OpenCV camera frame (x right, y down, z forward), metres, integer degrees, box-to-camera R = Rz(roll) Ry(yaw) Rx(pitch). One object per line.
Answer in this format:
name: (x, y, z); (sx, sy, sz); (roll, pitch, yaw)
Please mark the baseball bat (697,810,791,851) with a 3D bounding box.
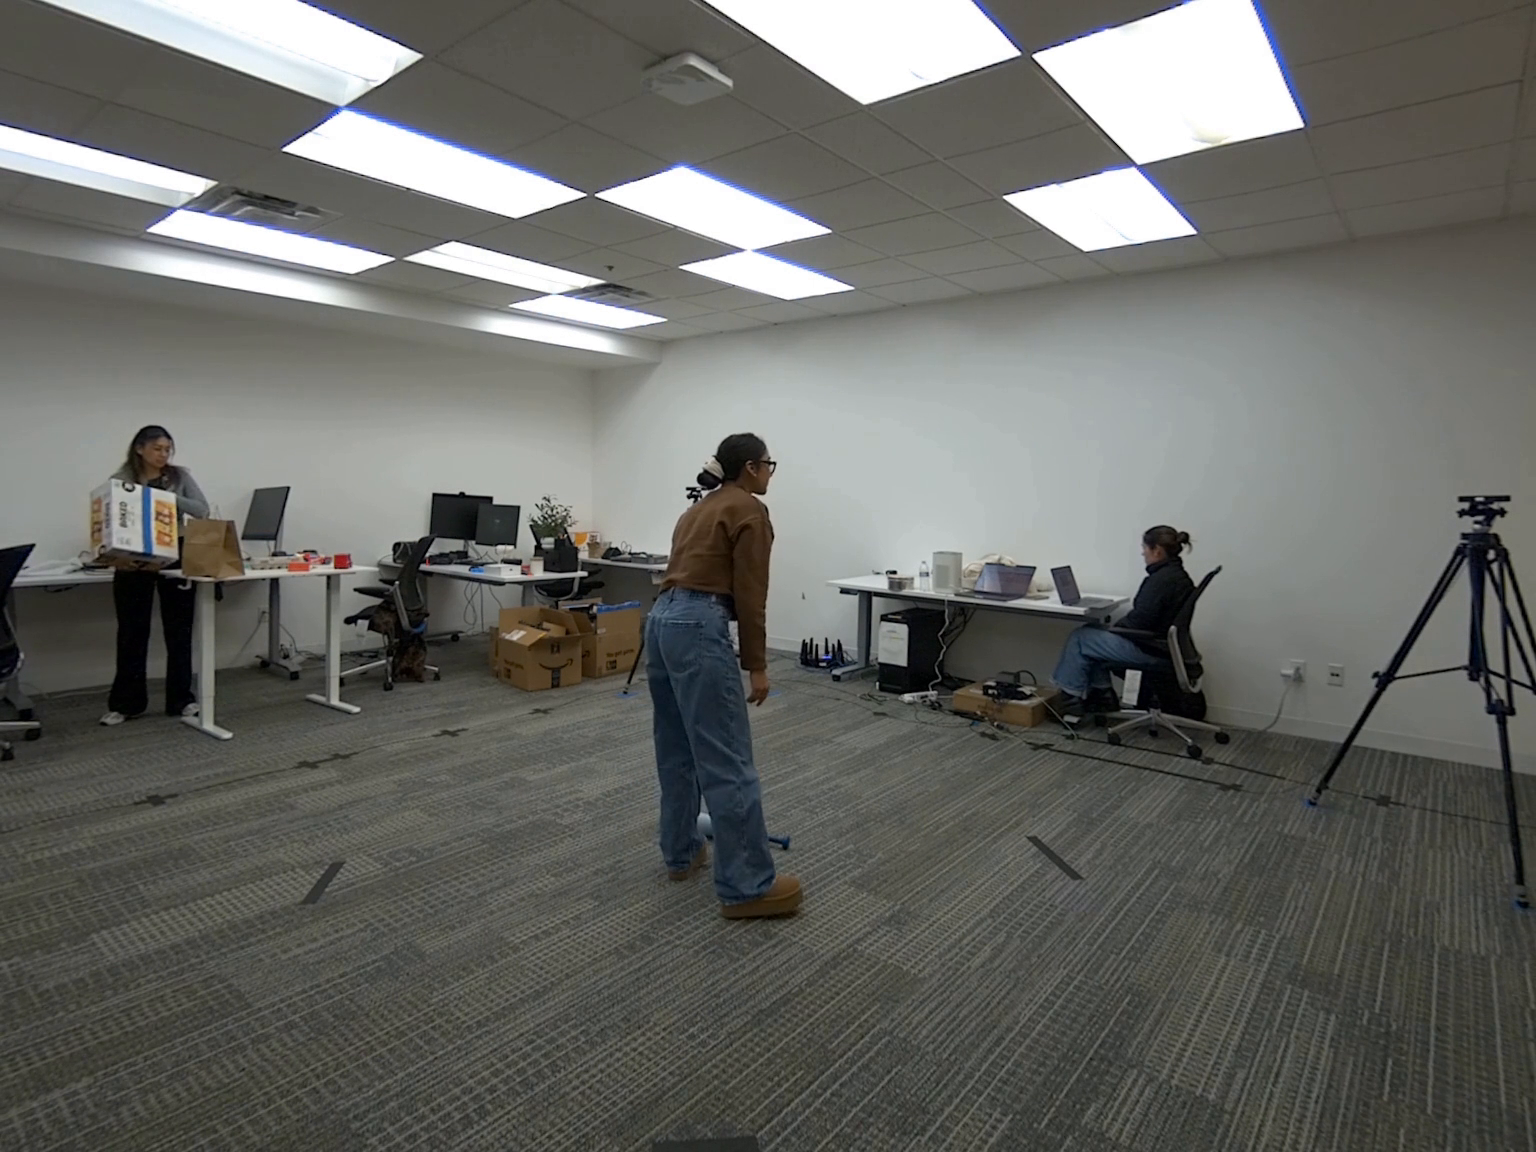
baseball bat: (-0.181, 0.996, 3.372); (0.555, 0.089, 0.087); (5, 5, 20)
